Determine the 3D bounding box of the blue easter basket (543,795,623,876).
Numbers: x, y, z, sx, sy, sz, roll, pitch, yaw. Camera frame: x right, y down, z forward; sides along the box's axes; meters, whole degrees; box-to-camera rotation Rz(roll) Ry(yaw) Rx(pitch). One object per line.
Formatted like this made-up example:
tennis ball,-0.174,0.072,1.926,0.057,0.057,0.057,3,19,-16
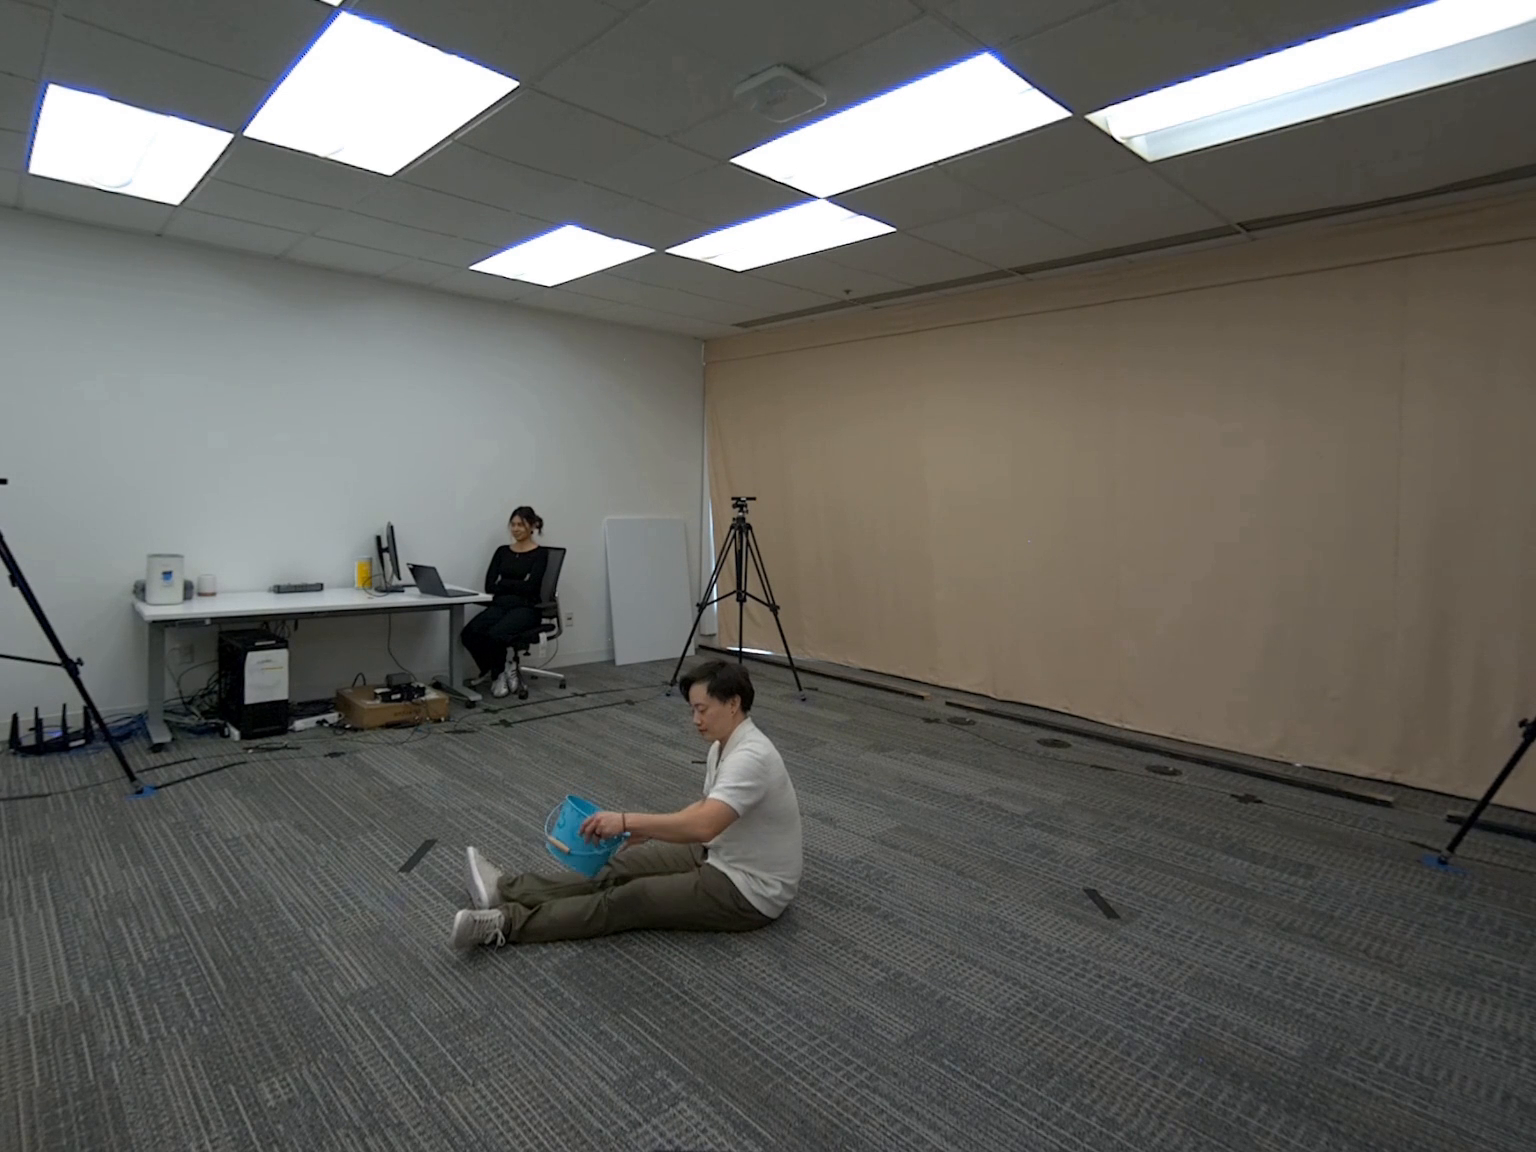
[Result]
blue easter basket,-0.556,0.809,2.567,0.245,0.156,0.241,31,-11,5
